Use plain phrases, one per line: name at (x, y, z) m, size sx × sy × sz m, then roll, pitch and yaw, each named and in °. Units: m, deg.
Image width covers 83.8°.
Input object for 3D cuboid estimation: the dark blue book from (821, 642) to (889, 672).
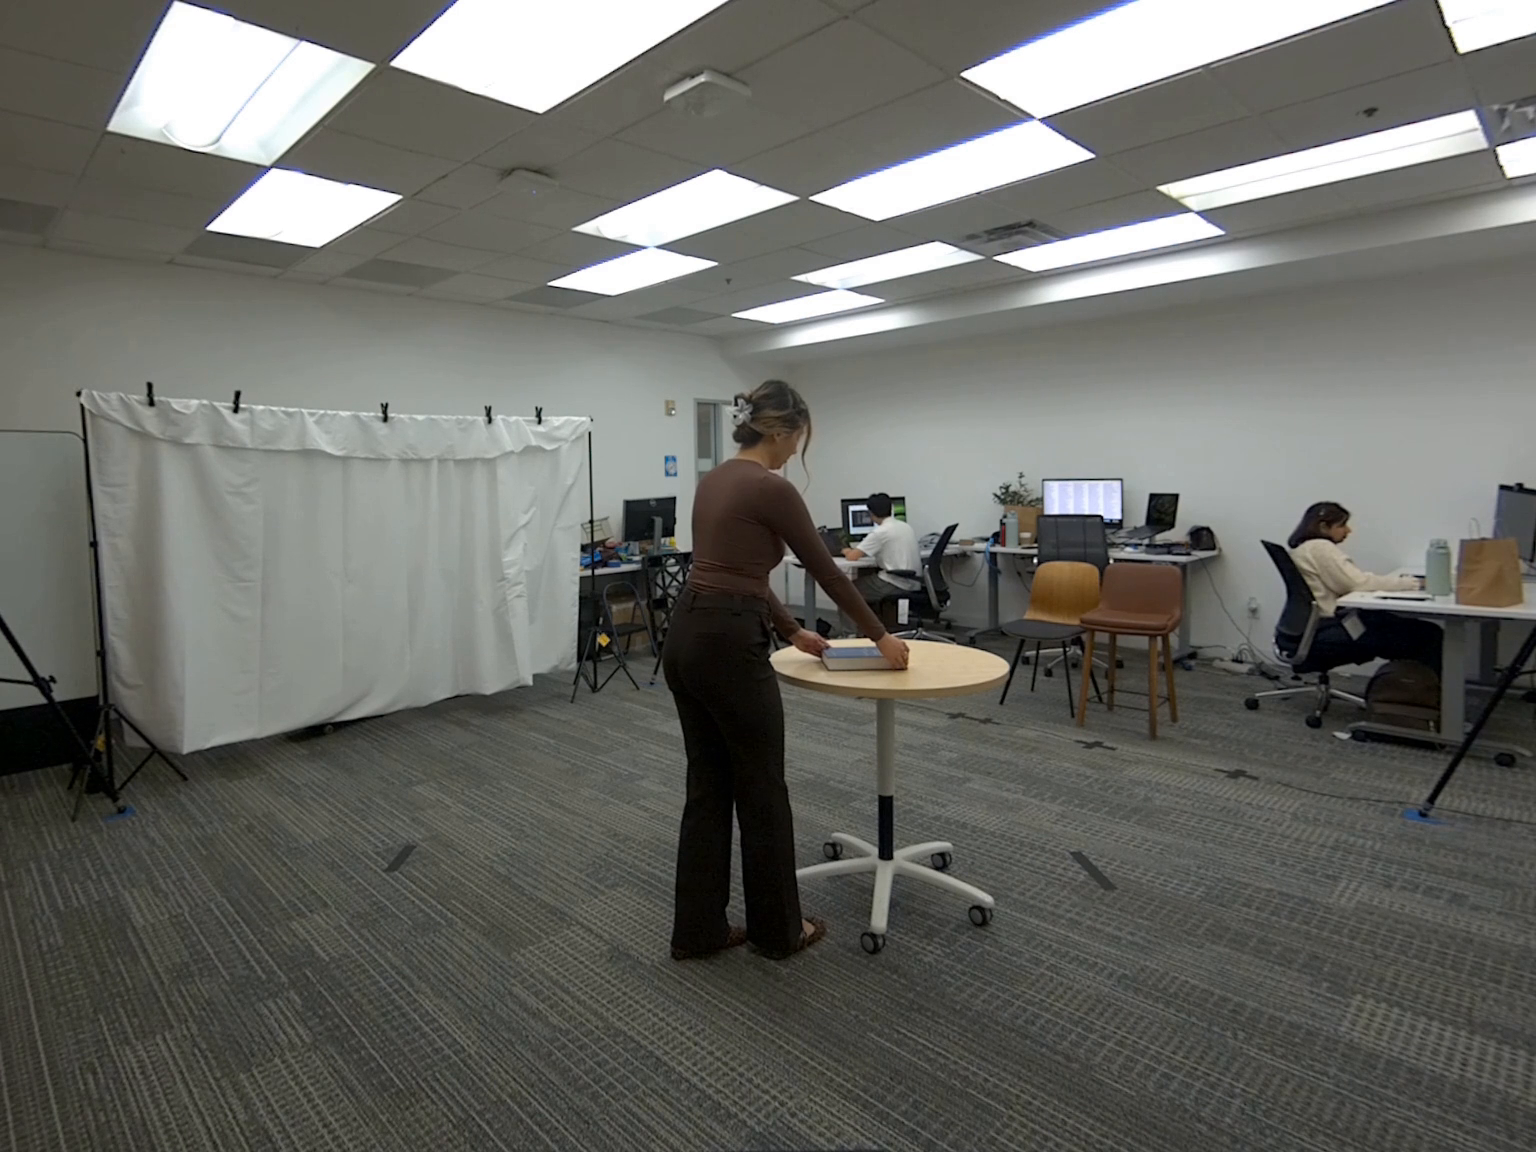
dark blue book at (0.308, 0.266, 2.711) m, size 0.245 × 0.045 × 0.164 m, roll -1°, pitch 7°, yaw 0°
